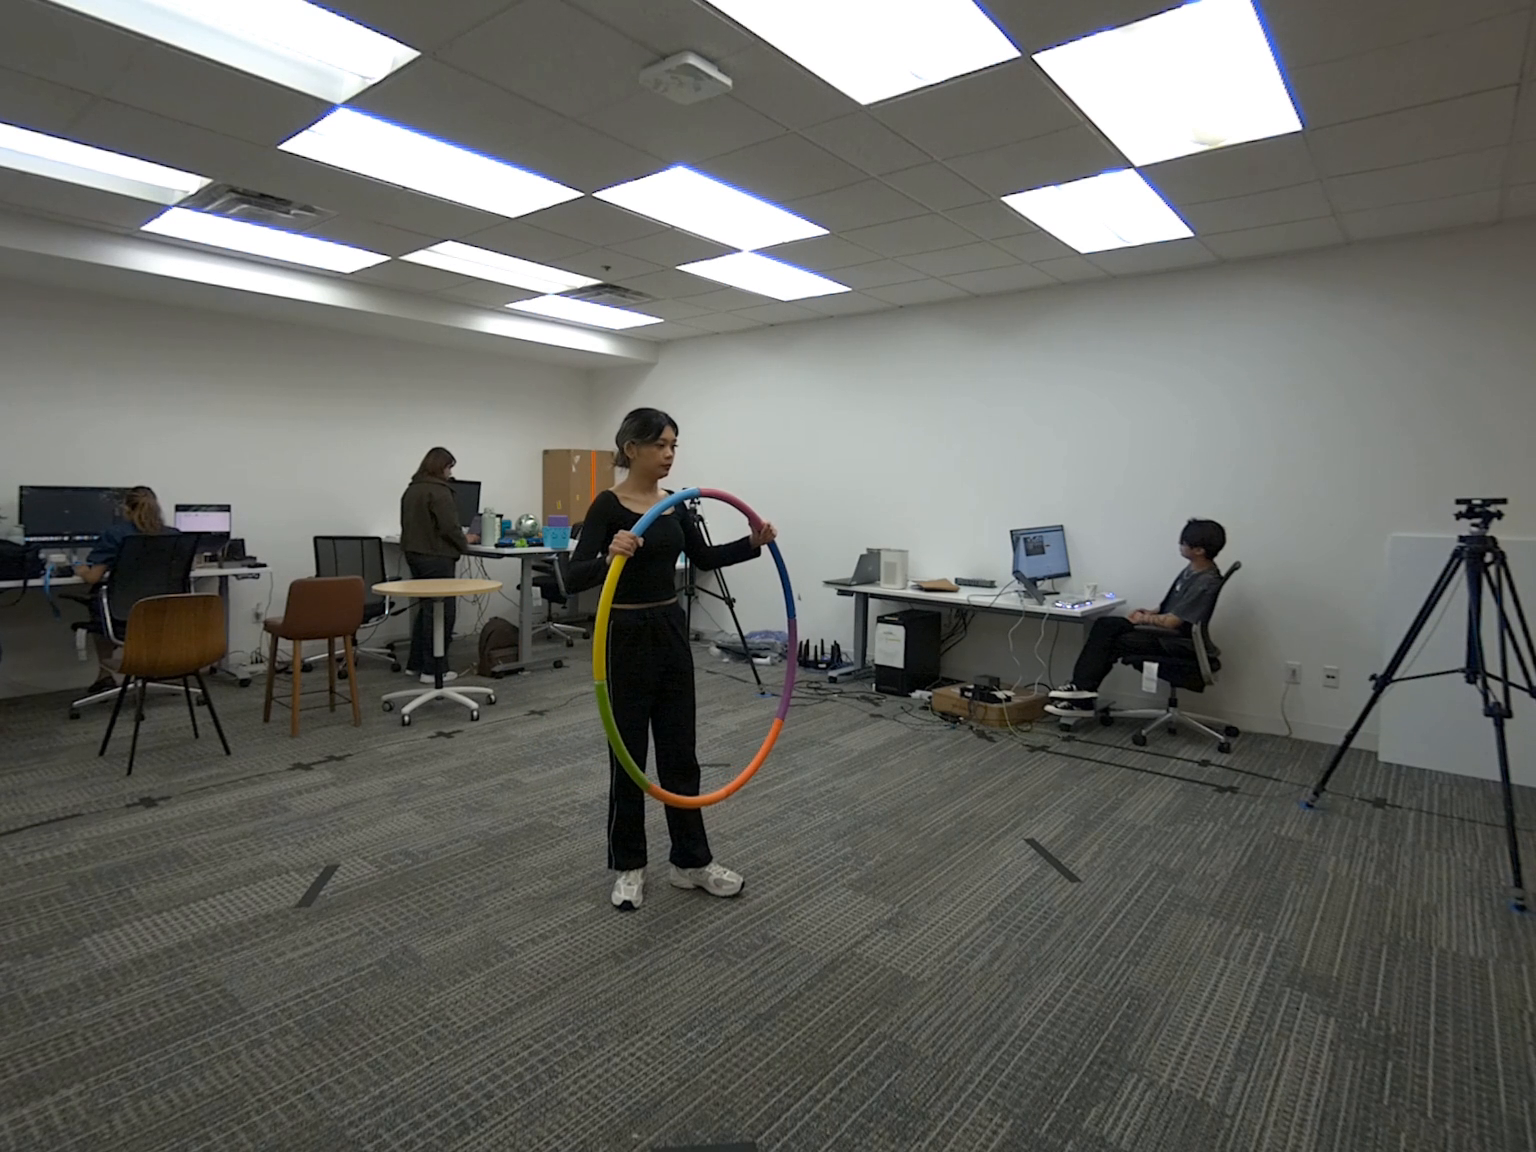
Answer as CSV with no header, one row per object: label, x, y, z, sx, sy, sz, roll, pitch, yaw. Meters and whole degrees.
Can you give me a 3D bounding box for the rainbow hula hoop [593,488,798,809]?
rainbow hula hoop,-0.195,0.211,2.701,0.036,0.979,0.950,-3,1,39
